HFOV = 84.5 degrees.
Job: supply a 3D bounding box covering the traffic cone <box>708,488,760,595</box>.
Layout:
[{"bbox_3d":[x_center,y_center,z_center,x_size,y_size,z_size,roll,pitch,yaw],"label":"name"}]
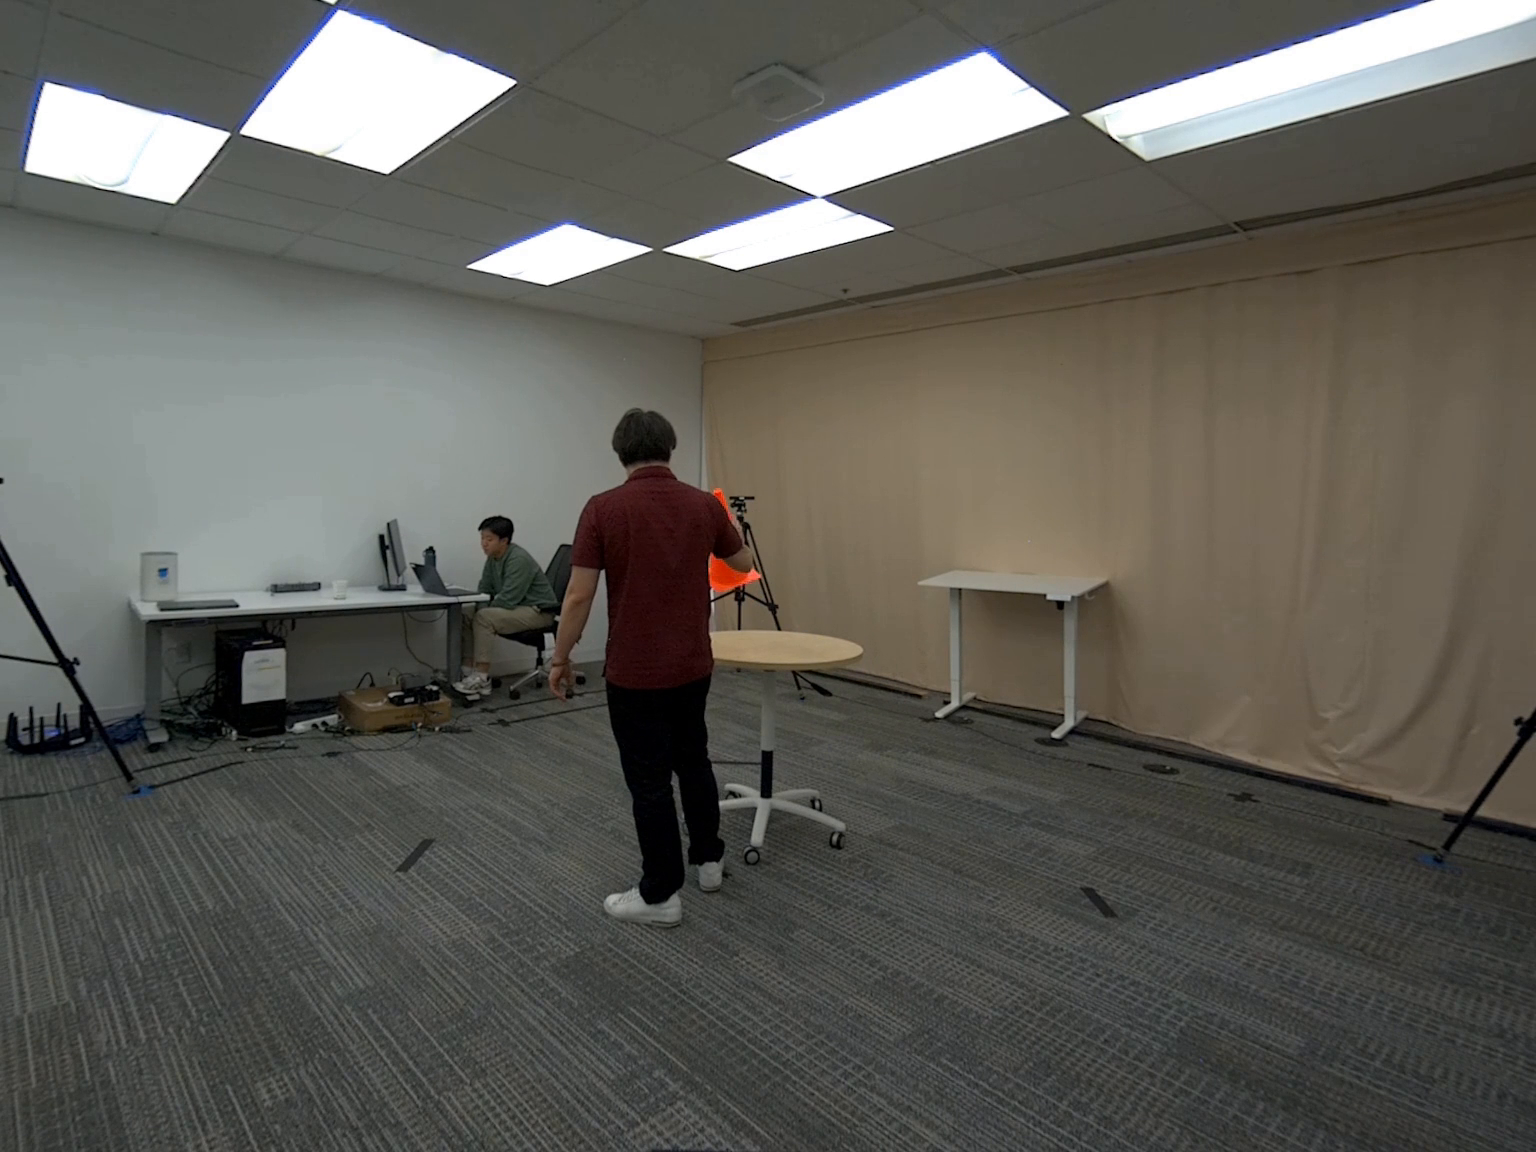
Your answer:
[{"bbox_3d":[-0.184,-0.158,3.295,0.201,0.375,0.211,-29,39,-30],"label":"traffic cone"}]
